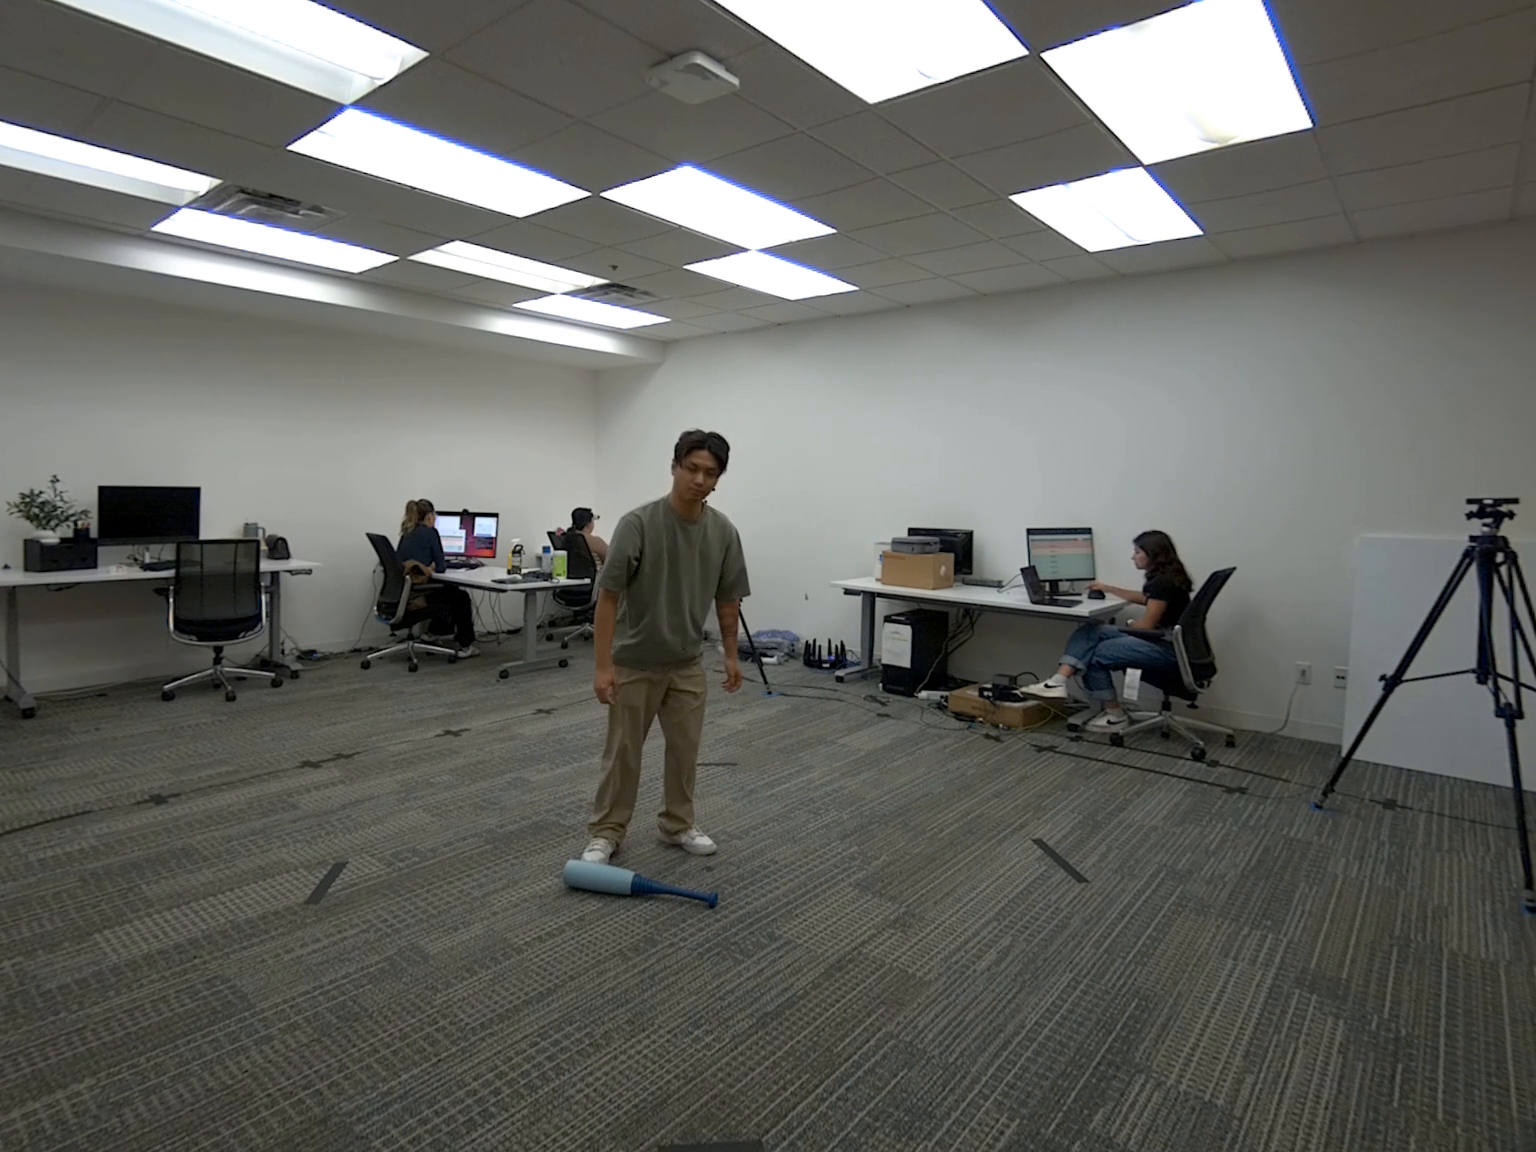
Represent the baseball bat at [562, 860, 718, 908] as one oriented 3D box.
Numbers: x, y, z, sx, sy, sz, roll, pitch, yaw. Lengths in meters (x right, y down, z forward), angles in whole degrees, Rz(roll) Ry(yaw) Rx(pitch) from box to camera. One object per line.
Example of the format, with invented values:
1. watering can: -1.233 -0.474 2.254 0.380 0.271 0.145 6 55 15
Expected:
1. baseball bat: -0.446 1.043 2.885 0.551 0.089 0.088 4 5 13
